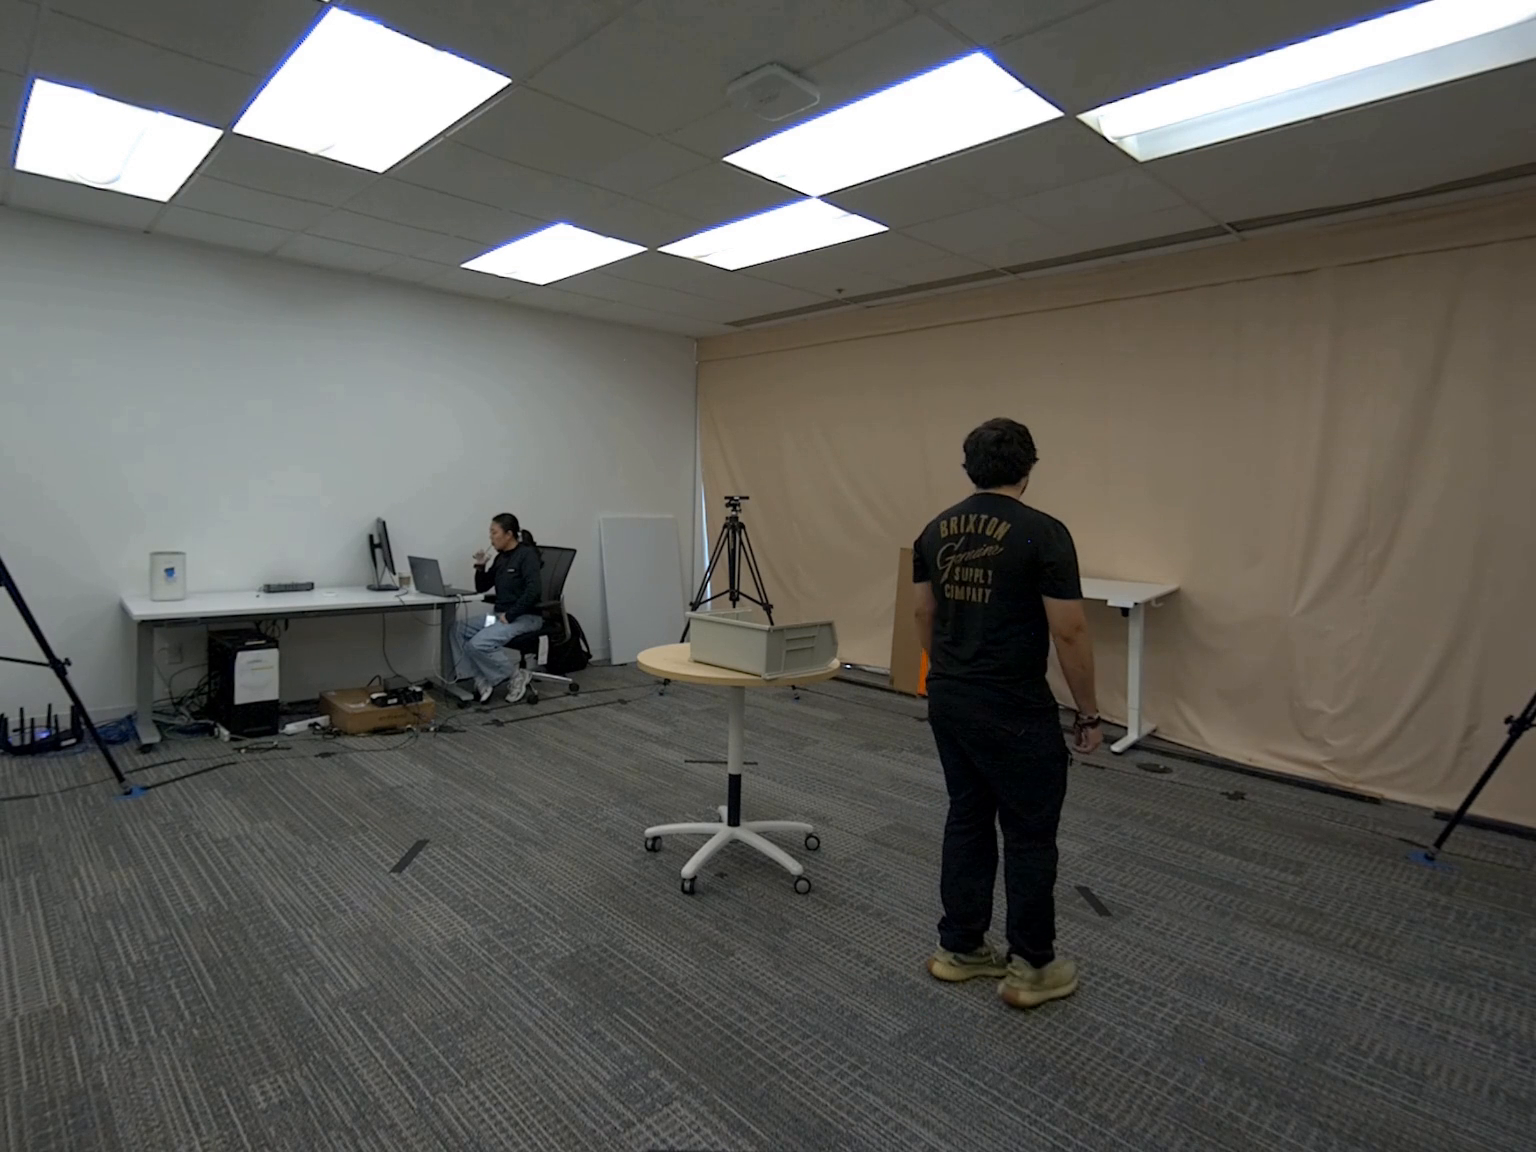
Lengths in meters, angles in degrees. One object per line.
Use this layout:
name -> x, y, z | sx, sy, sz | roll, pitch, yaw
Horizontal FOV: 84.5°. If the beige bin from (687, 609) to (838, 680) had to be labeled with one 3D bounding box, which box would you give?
beige bin -> -0.031, 0.236, 3.068 | 0.433, 0.188, 0.369 | 6, 7, 45
